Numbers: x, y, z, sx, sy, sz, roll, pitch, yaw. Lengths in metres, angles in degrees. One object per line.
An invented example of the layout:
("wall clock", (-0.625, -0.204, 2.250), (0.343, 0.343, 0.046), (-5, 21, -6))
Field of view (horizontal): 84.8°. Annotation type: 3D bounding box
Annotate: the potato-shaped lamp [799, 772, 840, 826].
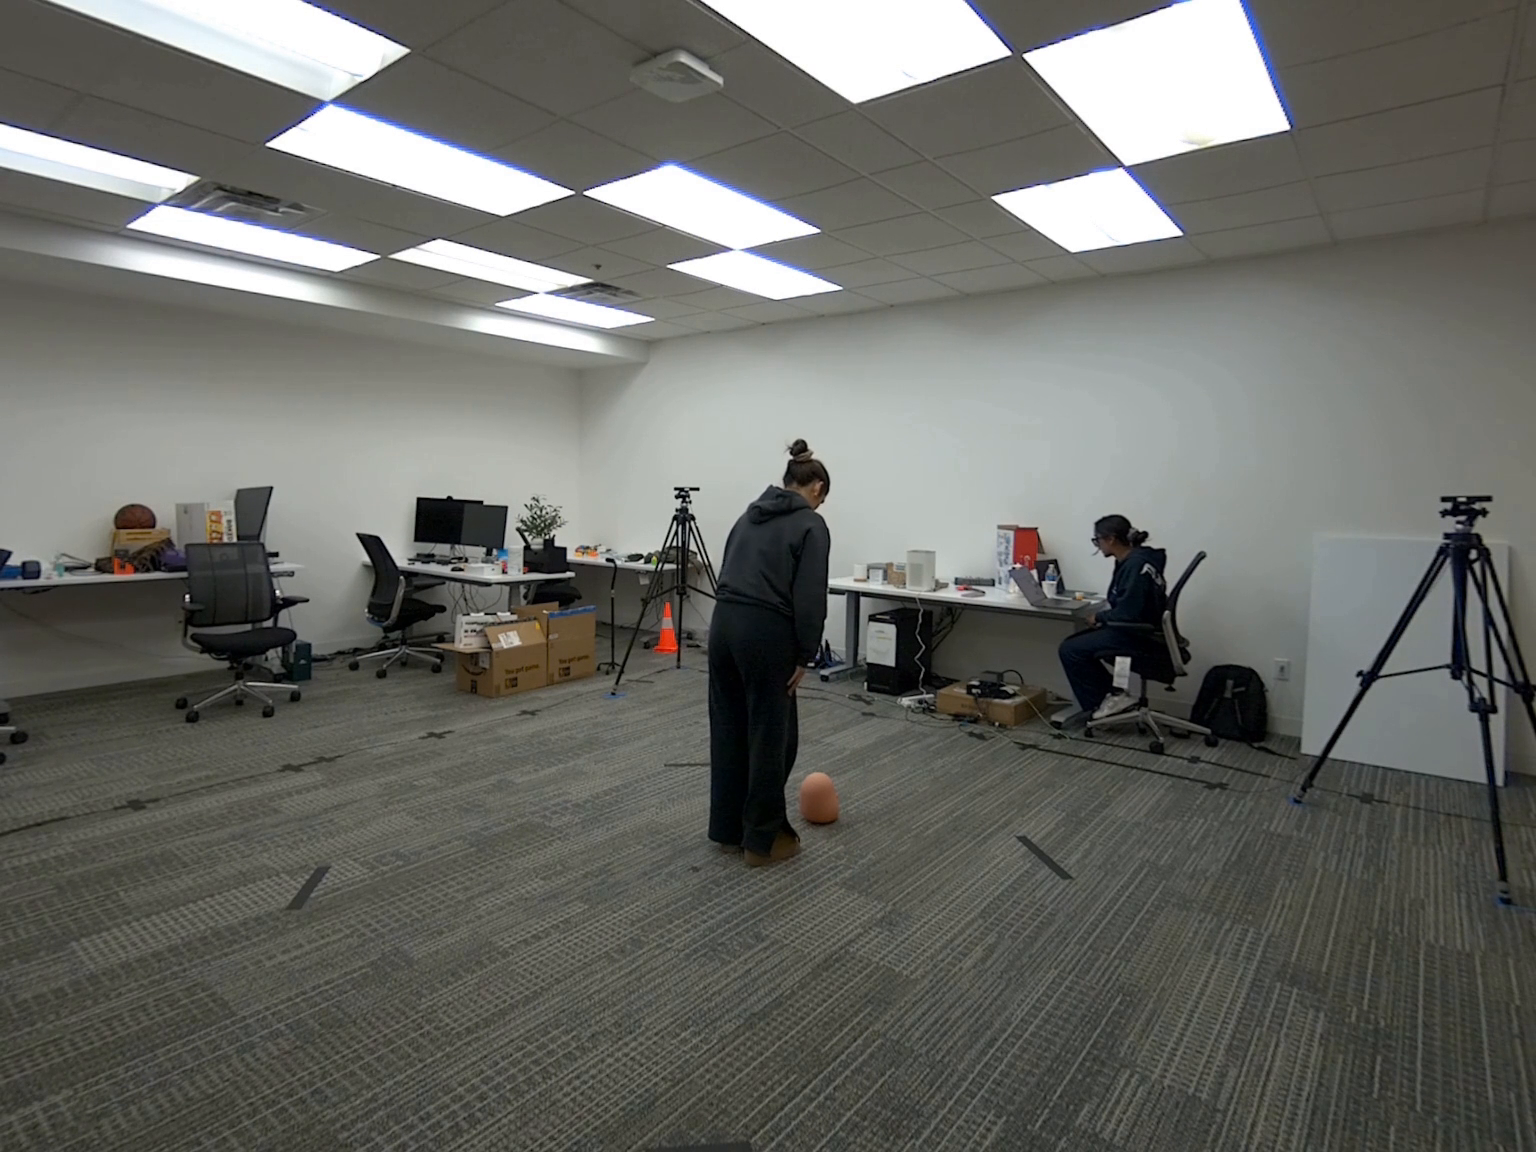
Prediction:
("potato-shaped lamp", (0.218, 0.929, 3.600), (0.166, 0.197, 0.170), (0, 5, -40))
